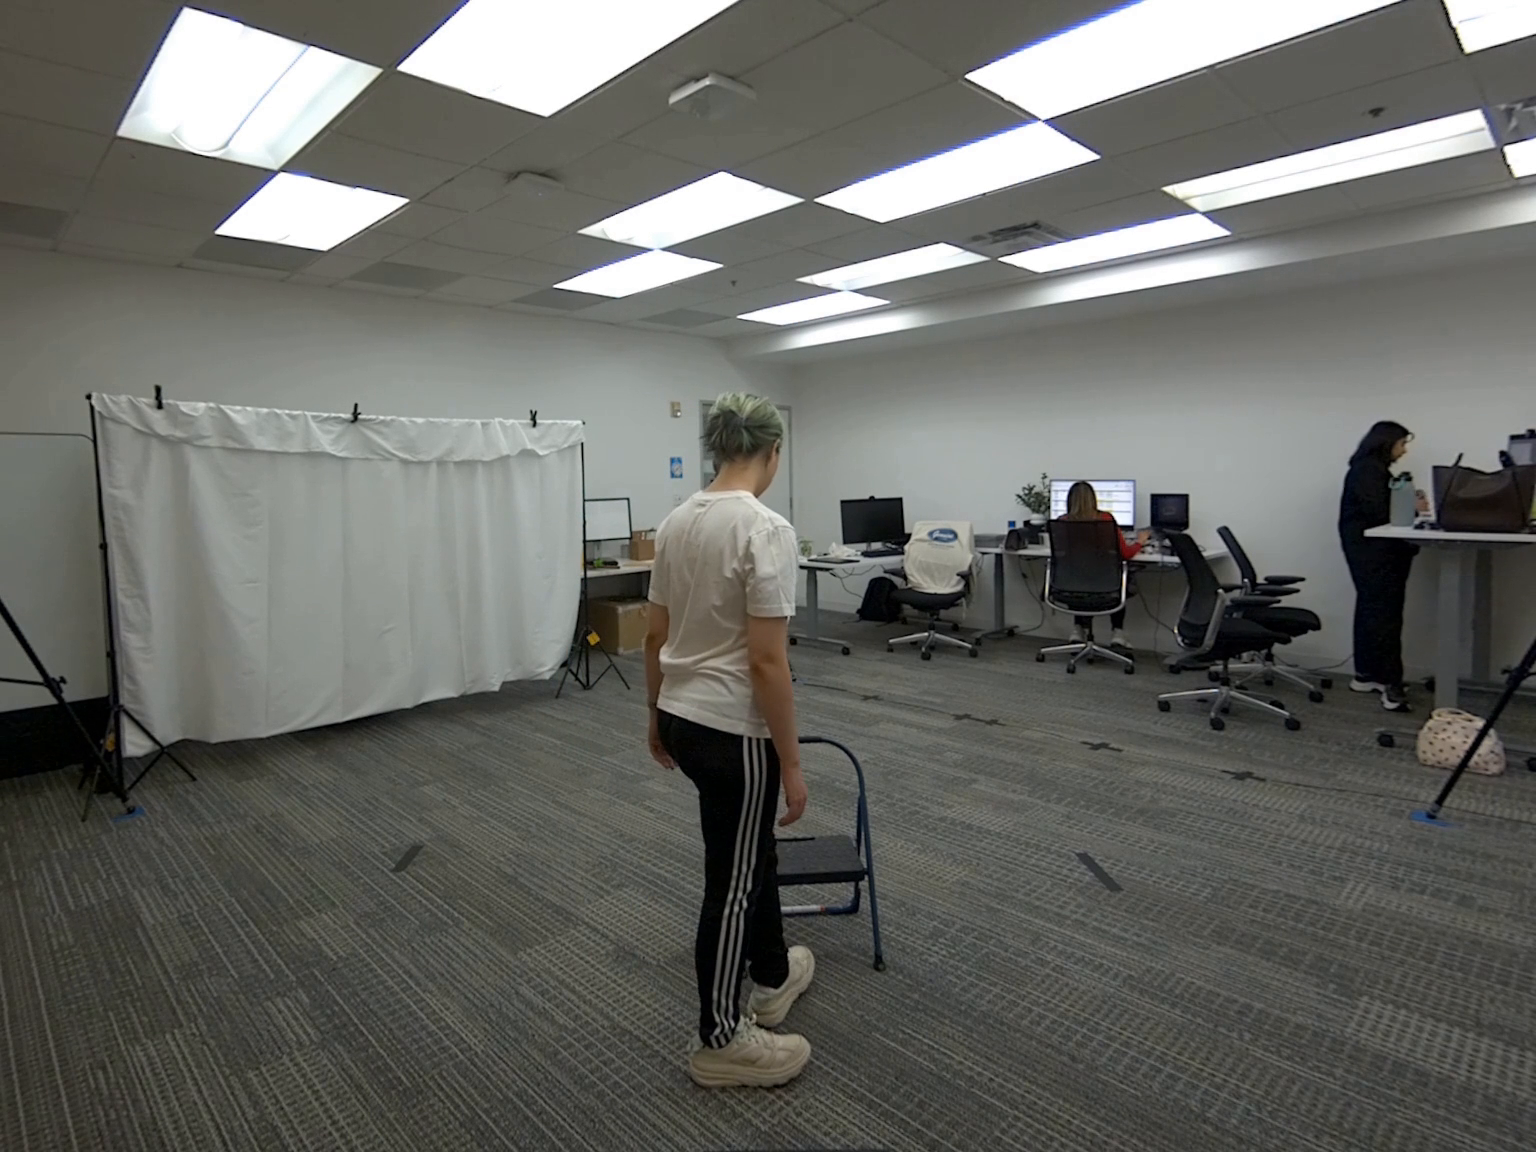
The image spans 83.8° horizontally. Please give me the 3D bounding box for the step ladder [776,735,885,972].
[{"bbox_3d":[0.106,0.808,2.564,0.429,0.604,0.352,-2,4,-5],"label":"step ladder"}]
